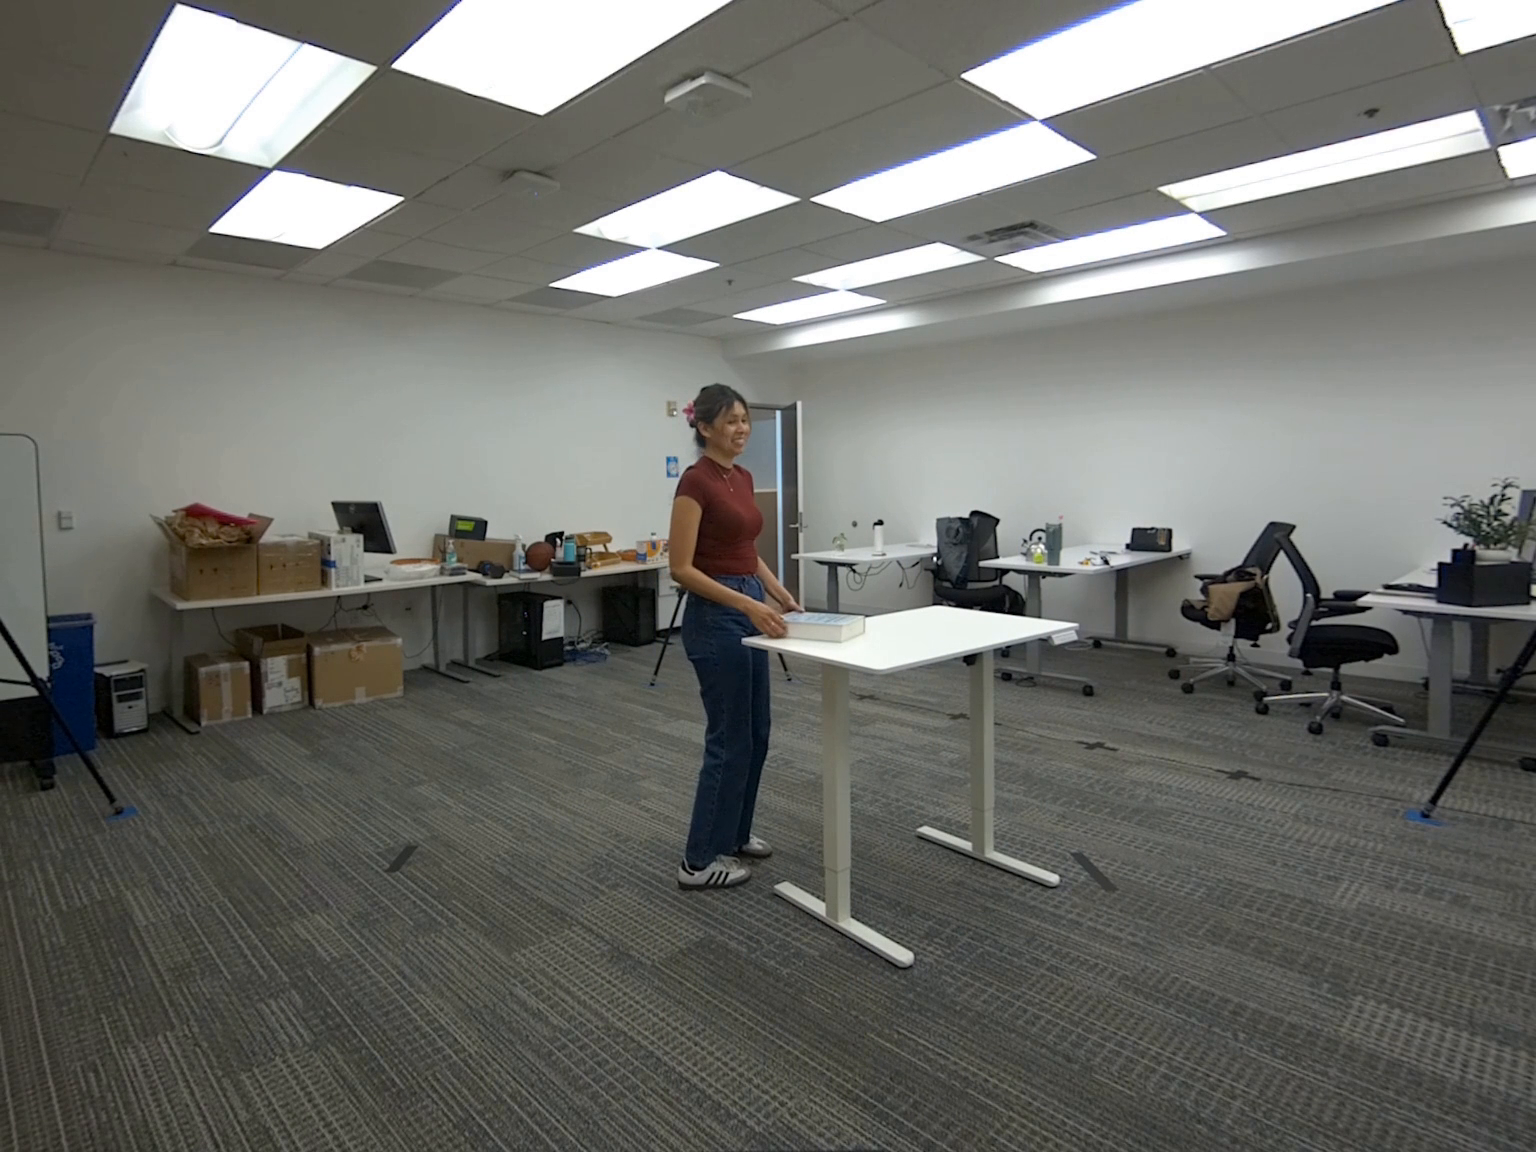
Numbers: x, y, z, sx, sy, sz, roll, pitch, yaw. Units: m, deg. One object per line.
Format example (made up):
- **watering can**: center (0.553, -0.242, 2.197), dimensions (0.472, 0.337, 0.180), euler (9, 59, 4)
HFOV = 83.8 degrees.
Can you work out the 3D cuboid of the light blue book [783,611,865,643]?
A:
- **light blue book**: center (0.169, 0.168, 2.799), dimensions (0.268, 0.059, 0.187), euler (2, 7, 29)
